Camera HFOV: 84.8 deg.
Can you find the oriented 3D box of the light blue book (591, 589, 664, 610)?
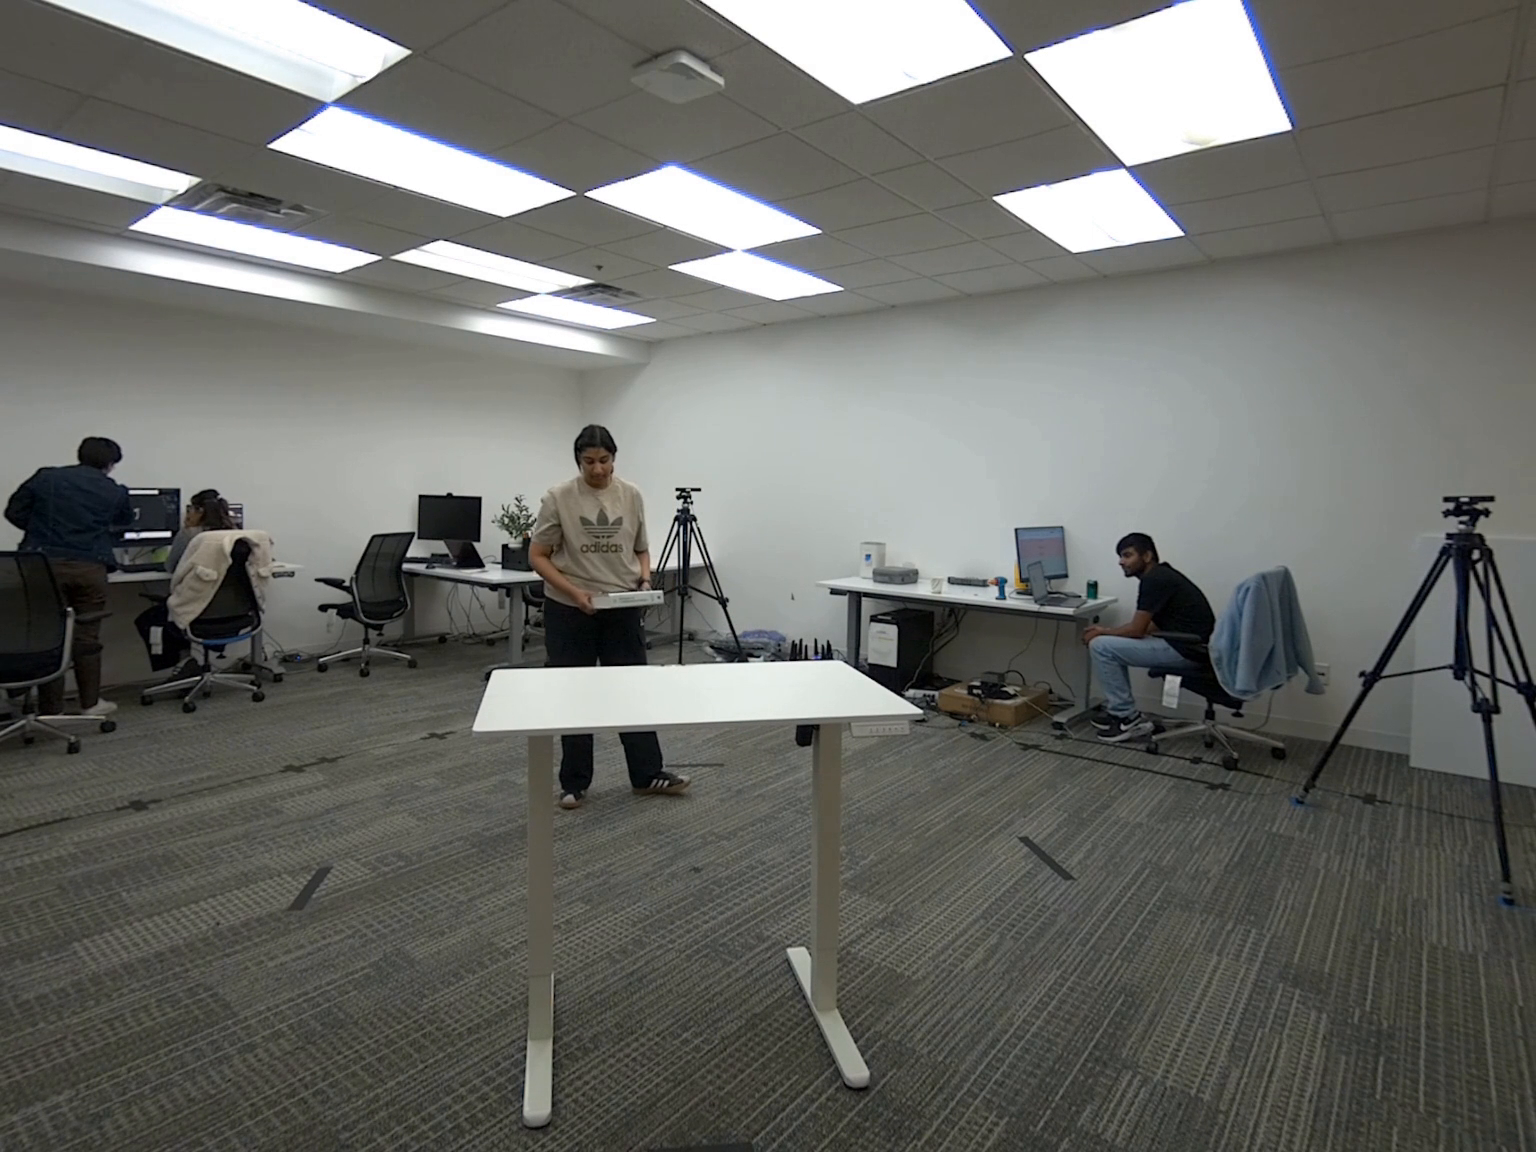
[{"bbox_3d":[-0.611,0.096,3.593,0.254,0.059,0.196,-5,2,-31],"label":"light blue book"}]
